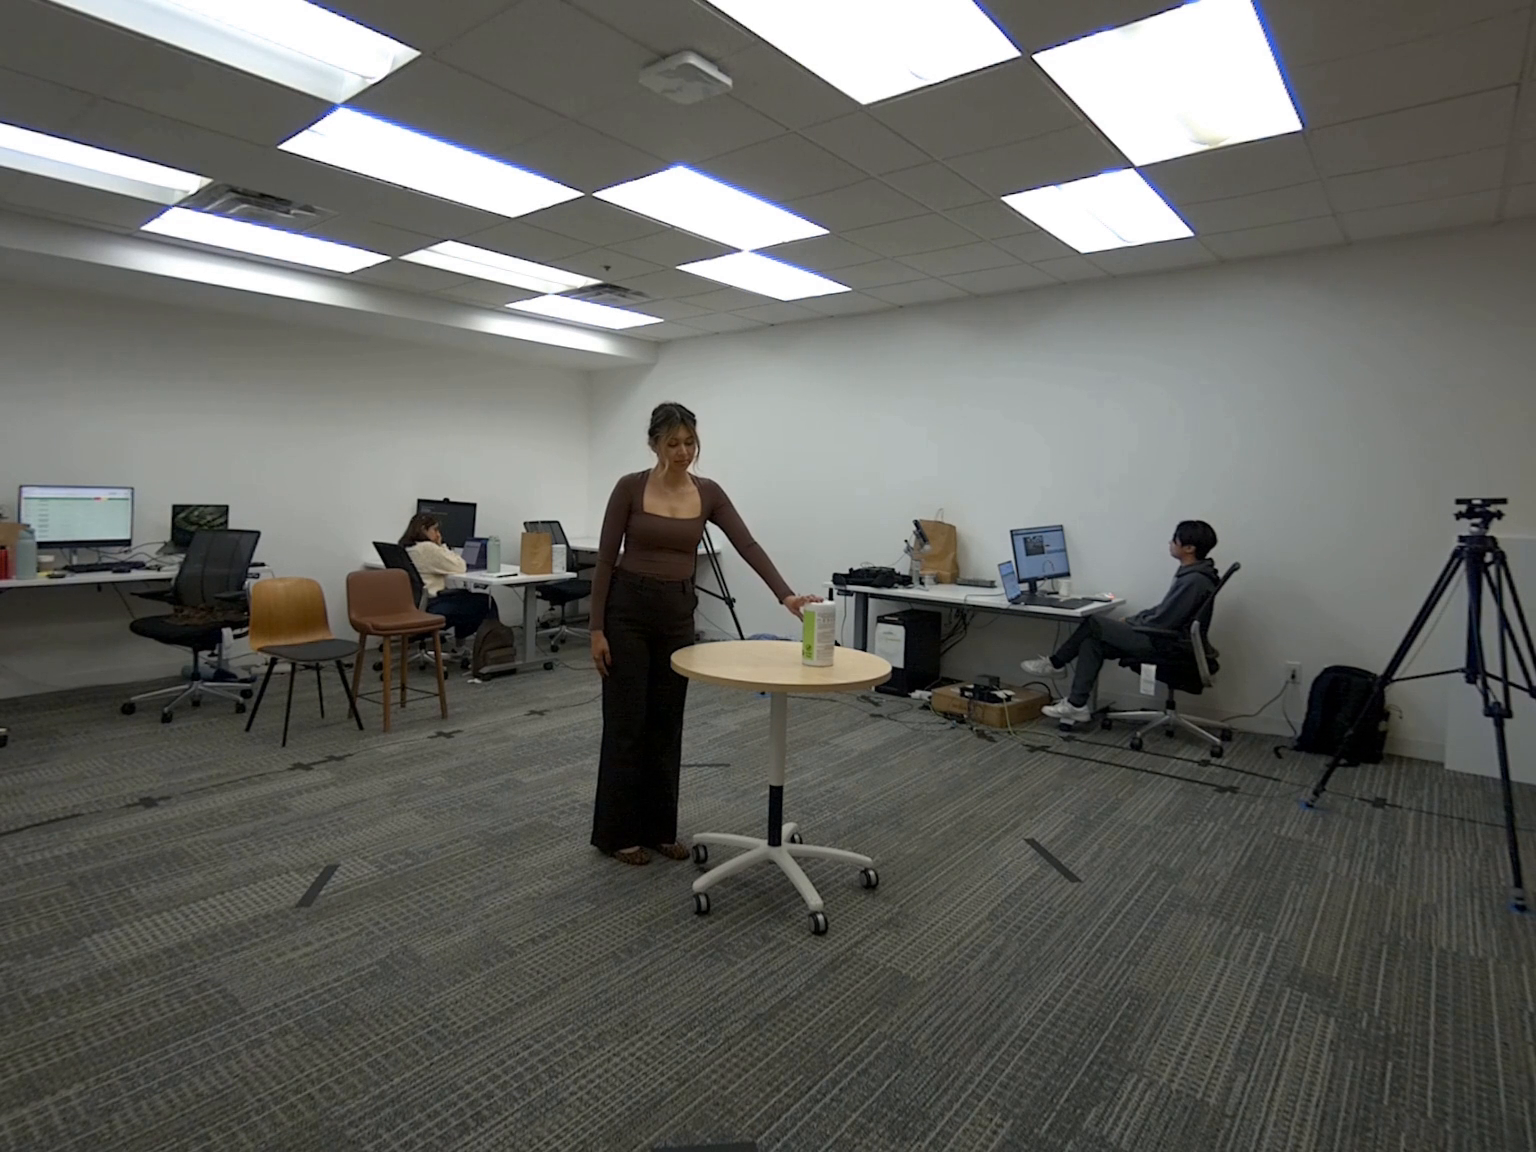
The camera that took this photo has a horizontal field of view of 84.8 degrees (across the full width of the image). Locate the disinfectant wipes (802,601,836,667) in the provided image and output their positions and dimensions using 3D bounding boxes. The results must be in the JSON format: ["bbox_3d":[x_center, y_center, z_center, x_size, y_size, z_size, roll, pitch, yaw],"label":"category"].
[{"bbox_3d":[0.169,0.192,2.918,0.118,0.217,0.118,0,2,-2],"label":"disinfectant wipes"}]
